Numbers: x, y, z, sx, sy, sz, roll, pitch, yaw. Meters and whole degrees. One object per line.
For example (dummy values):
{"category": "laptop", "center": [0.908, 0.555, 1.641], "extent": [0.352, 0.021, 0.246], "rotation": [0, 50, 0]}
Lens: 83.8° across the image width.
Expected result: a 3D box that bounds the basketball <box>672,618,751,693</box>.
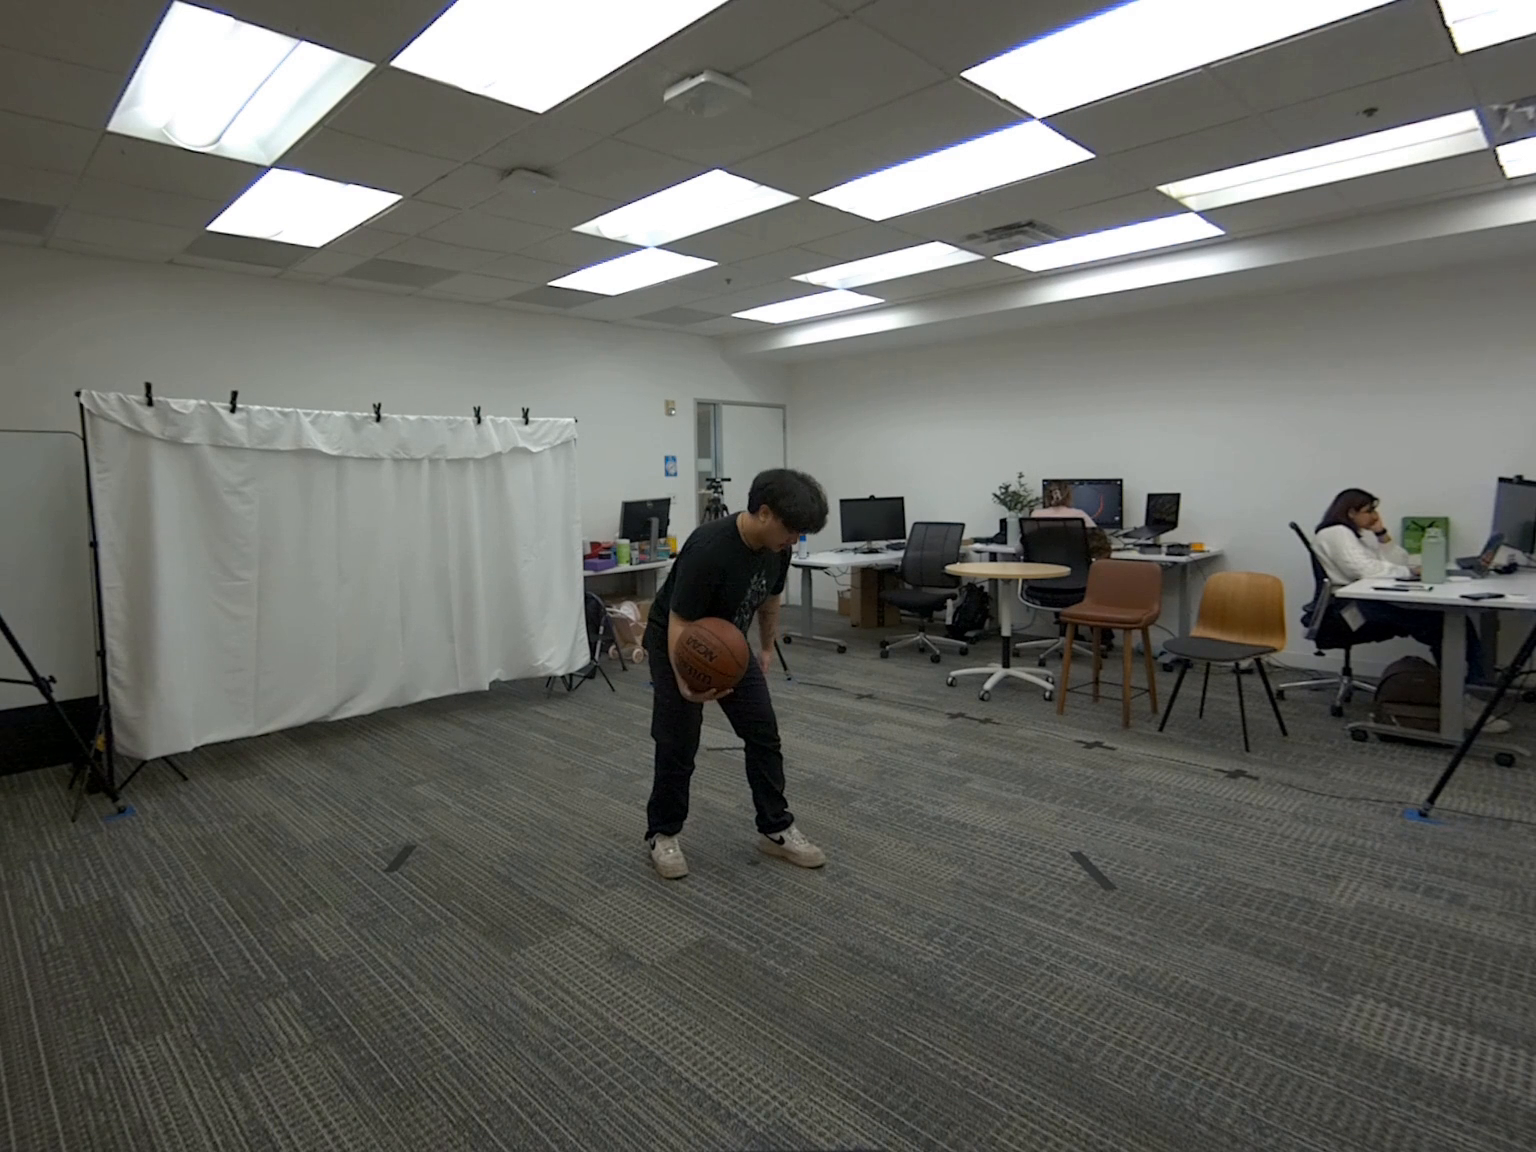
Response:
{"category": "basketball", "center": [-0.185, 0.252, 2.709], "extent": [0.236, 0.235, 0.237], "rotation": [-1, 5, -2]}
